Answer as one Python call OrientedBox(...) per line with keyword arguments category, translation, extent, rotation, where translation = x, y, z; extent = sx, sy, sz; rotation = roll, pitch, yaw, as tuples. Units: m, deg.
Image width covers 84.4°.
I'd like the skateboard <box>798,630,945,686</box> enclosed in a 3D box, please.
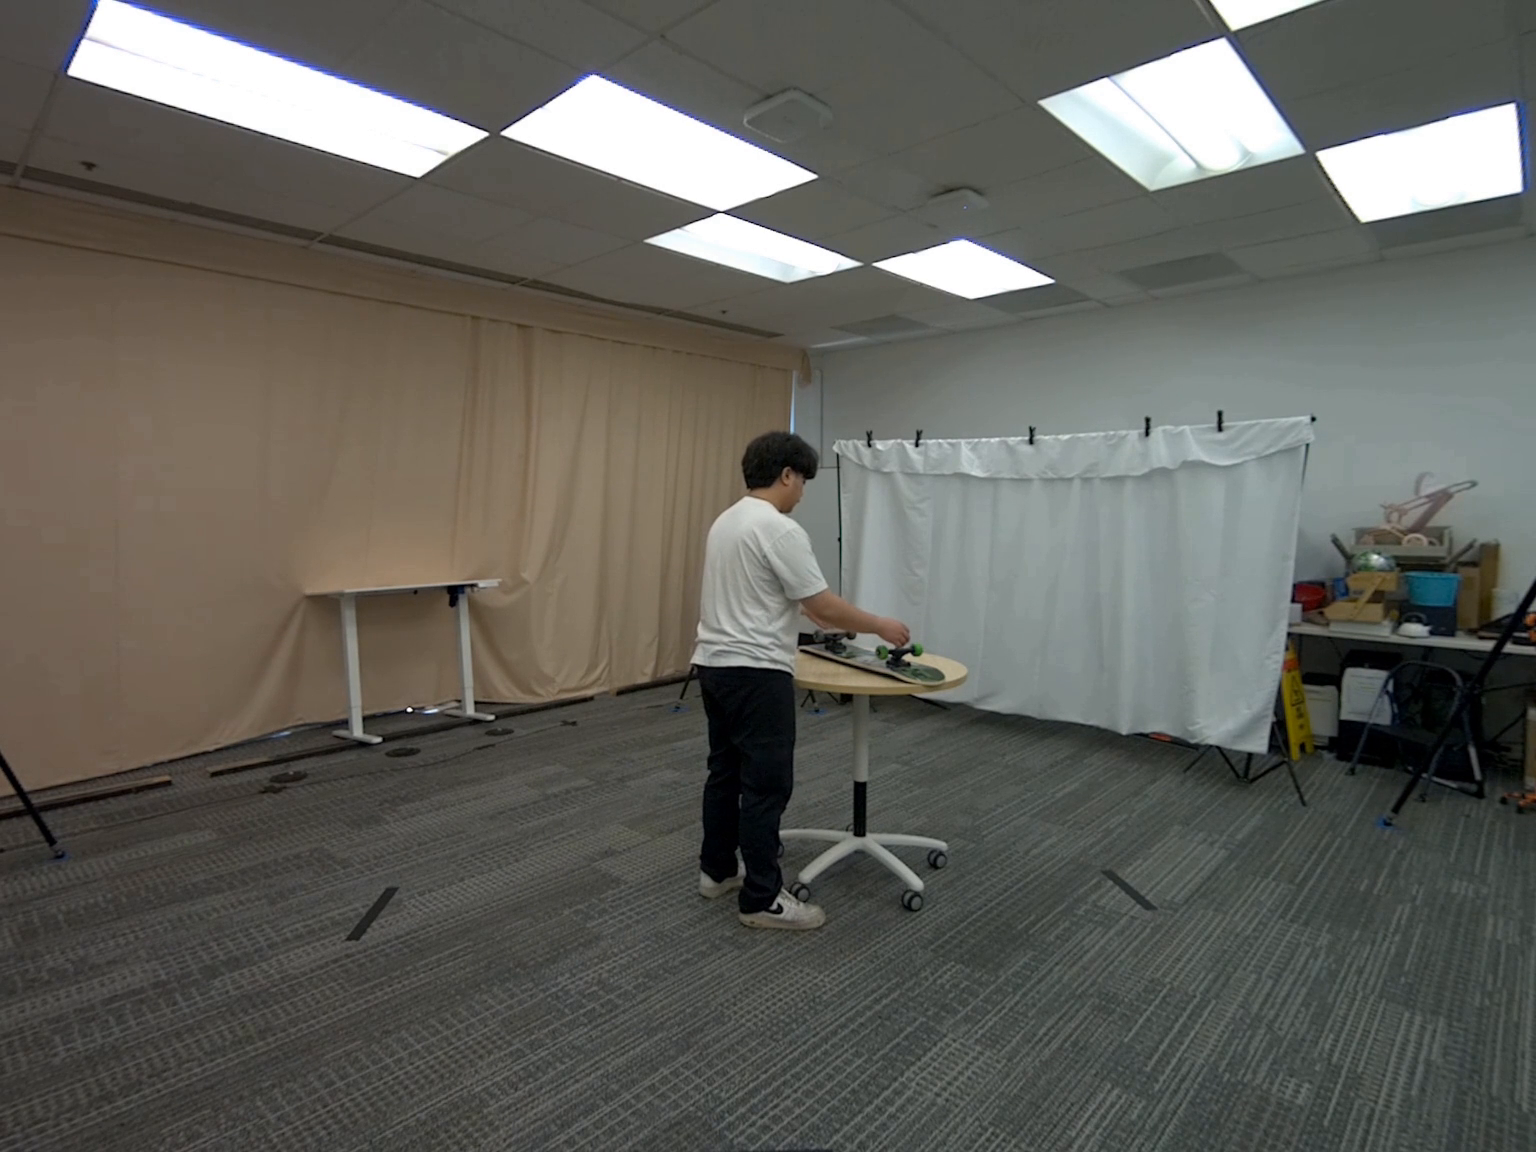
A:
OrientedBox(category="skateboard", translation=(0.378, 0.286, 3.167), extent=(0.188, 0.110, 0.808), rotation=(-1, 5, -29))
